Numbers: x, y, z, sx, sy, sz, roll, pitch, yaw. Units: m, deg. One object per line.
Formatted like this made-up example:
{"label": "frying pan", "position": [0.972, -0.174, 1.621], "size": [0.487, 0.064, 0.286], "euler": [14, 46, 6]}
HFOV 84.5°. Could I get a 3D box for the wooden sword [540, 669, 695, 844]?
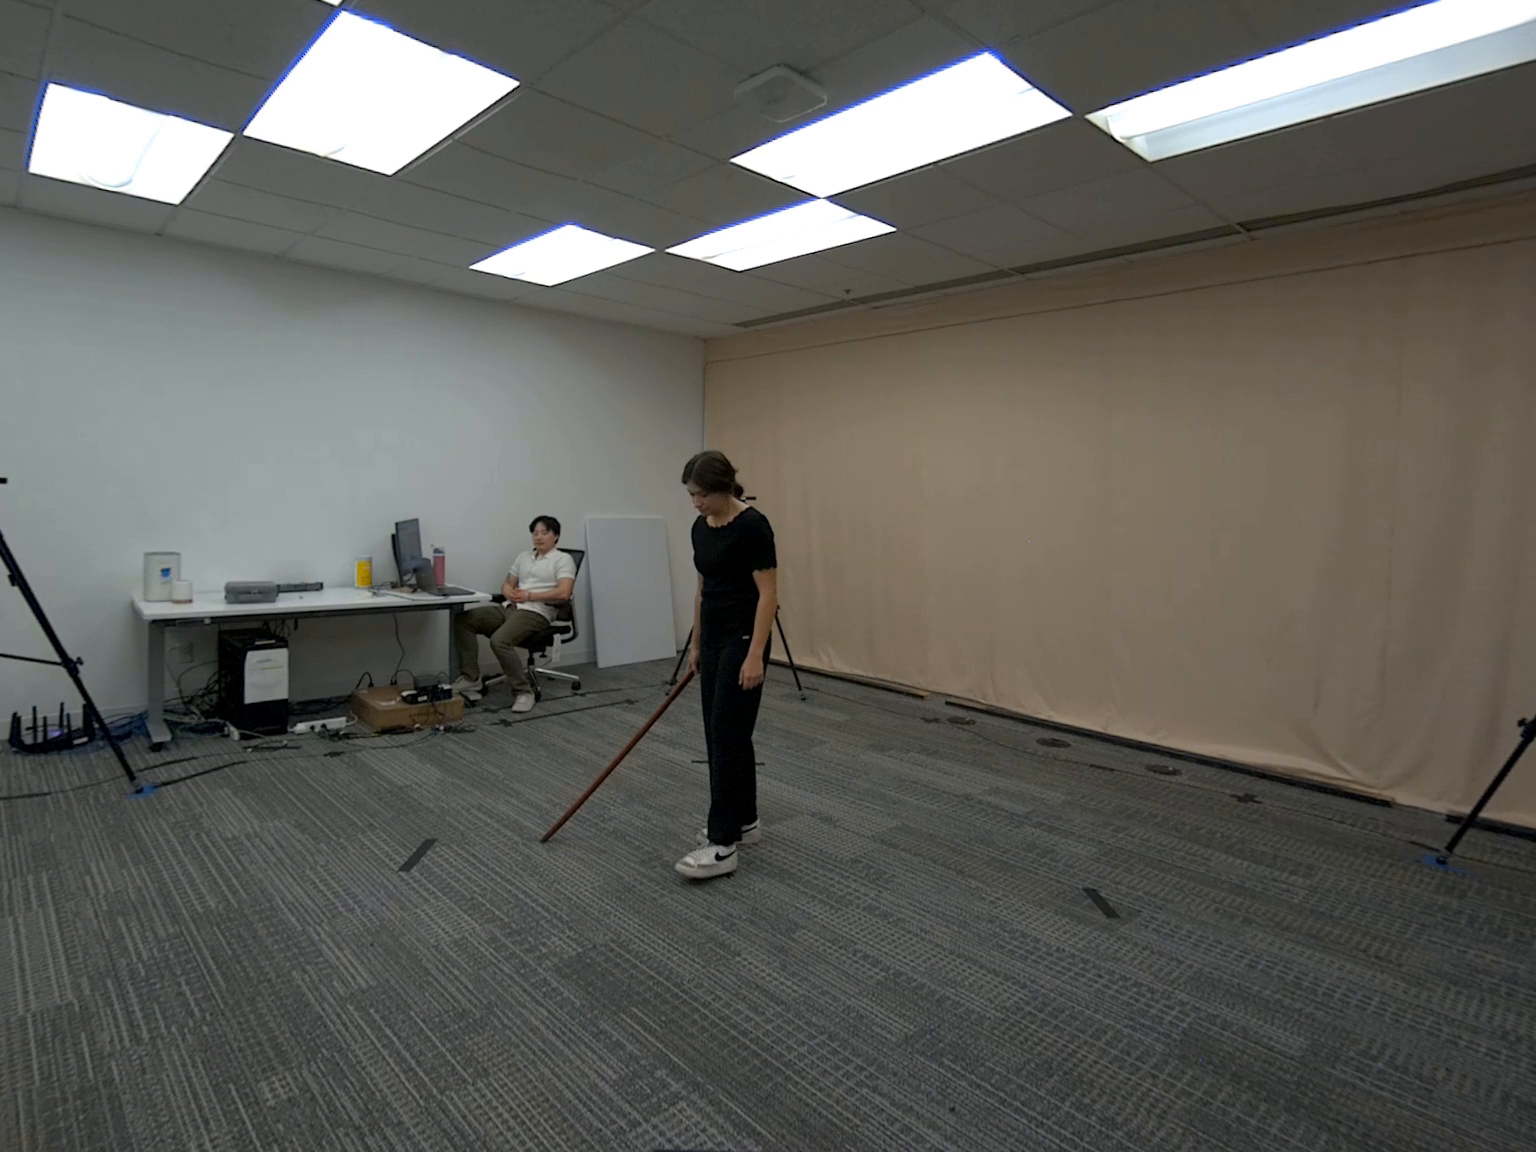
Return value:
{"label": "wooden sword", "position": [-0.568, 0.684, 3.439], "size": [0.053, 1.025, 0.023], "euler": [35, -12, 33]}
